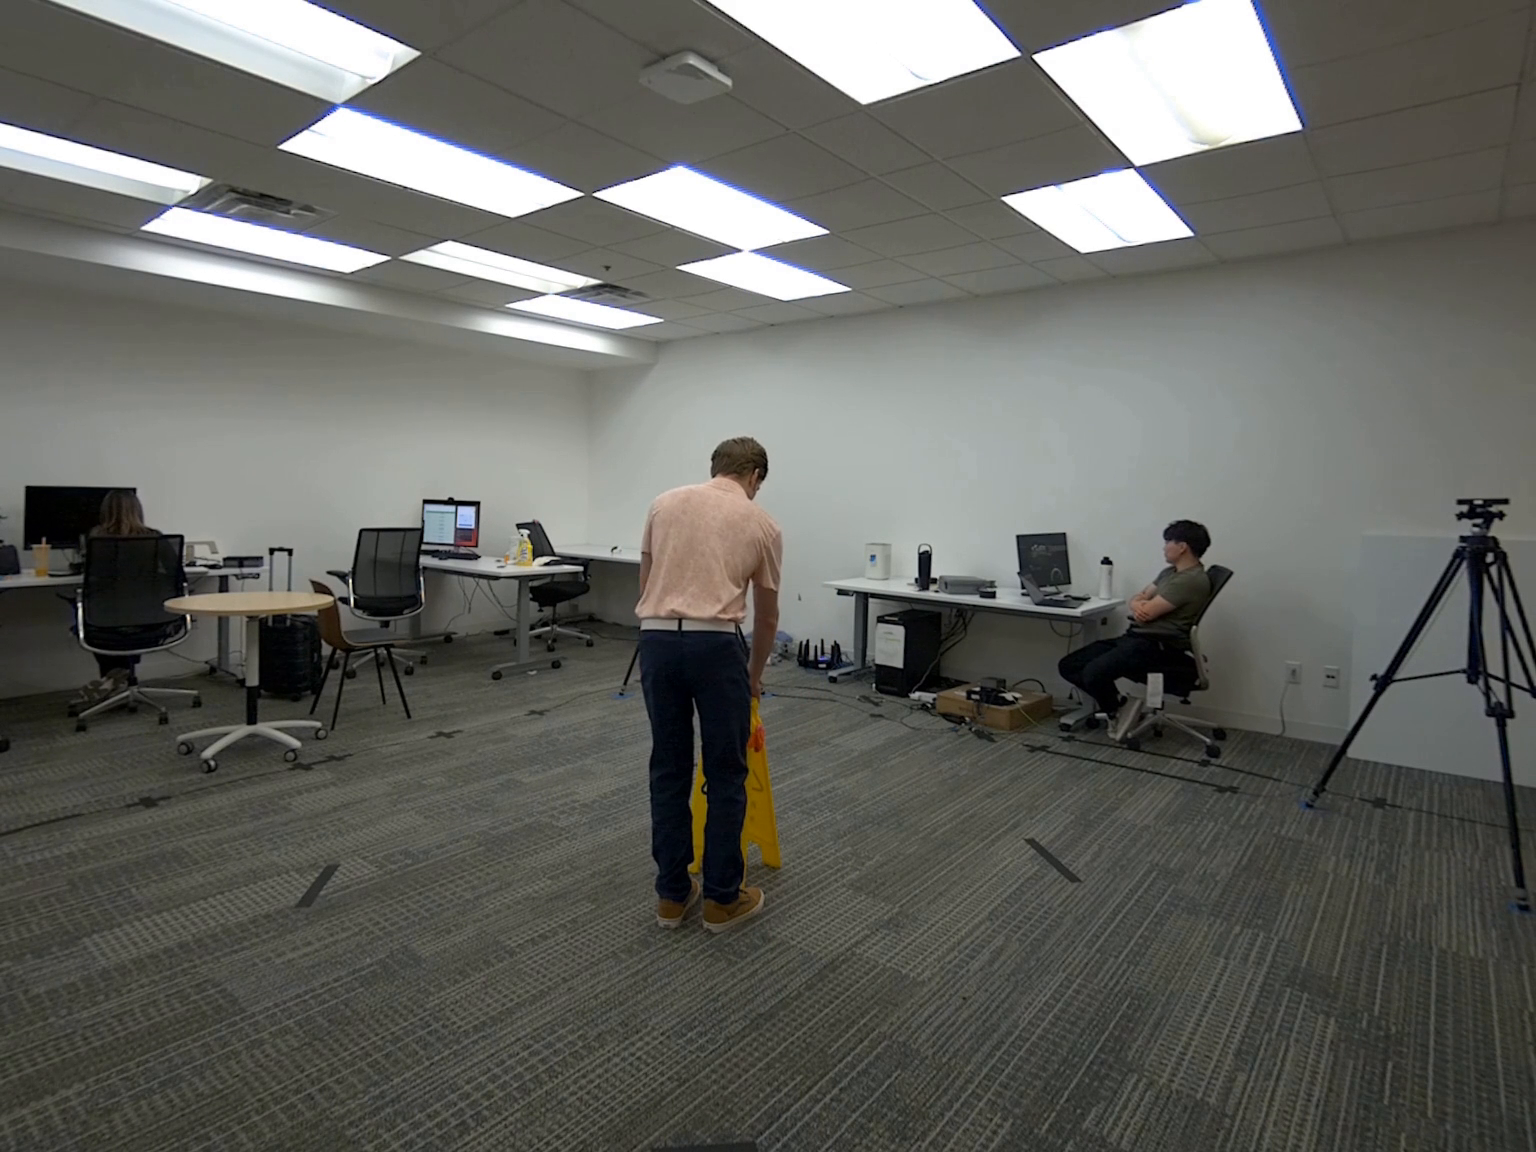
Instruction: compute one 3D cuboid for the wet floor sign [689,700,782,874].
[{"bbox_3d":[-0.136,0.743,3.108,0.292,0.644,0.281,4,4,39],"label":"wet floor sign"}]
